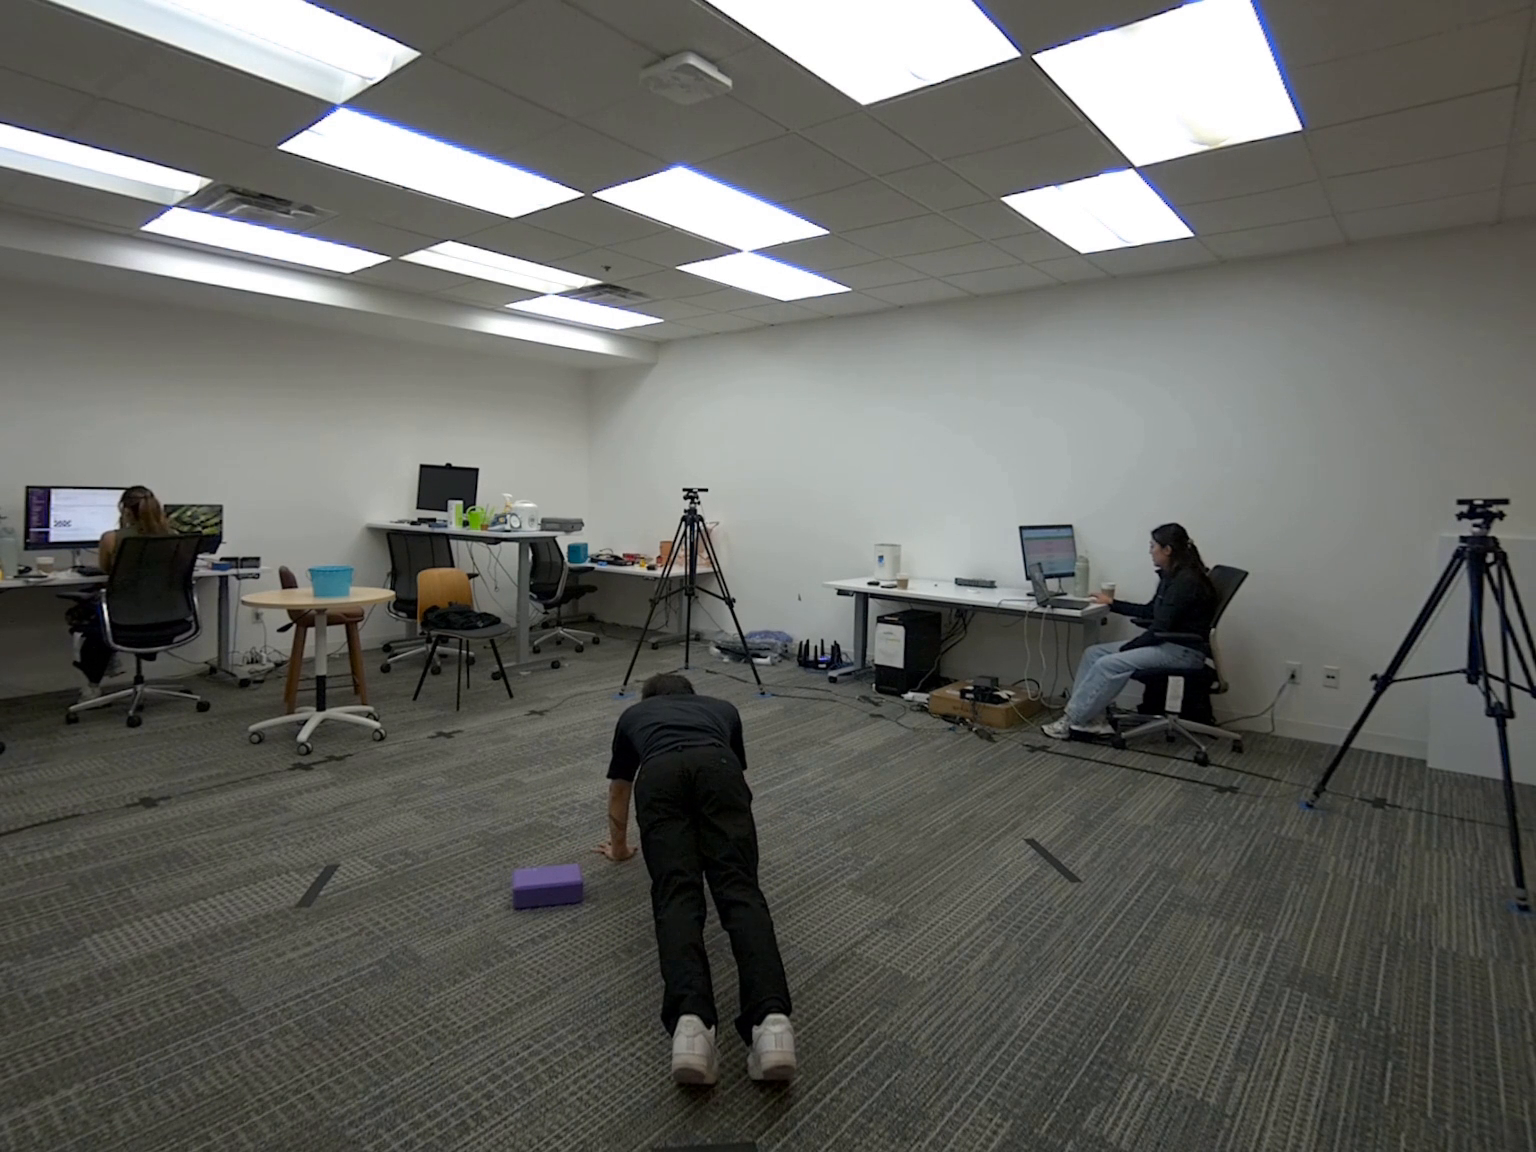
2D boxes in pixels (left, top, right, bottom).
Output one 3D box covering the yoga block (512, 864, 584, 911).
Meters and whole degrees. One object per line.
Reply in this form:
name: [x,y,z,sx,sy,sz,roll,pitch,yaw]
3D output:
yoga block: [-0.756,1.043,2.876,0.226,0.076,0.152,-1,5,-15]
